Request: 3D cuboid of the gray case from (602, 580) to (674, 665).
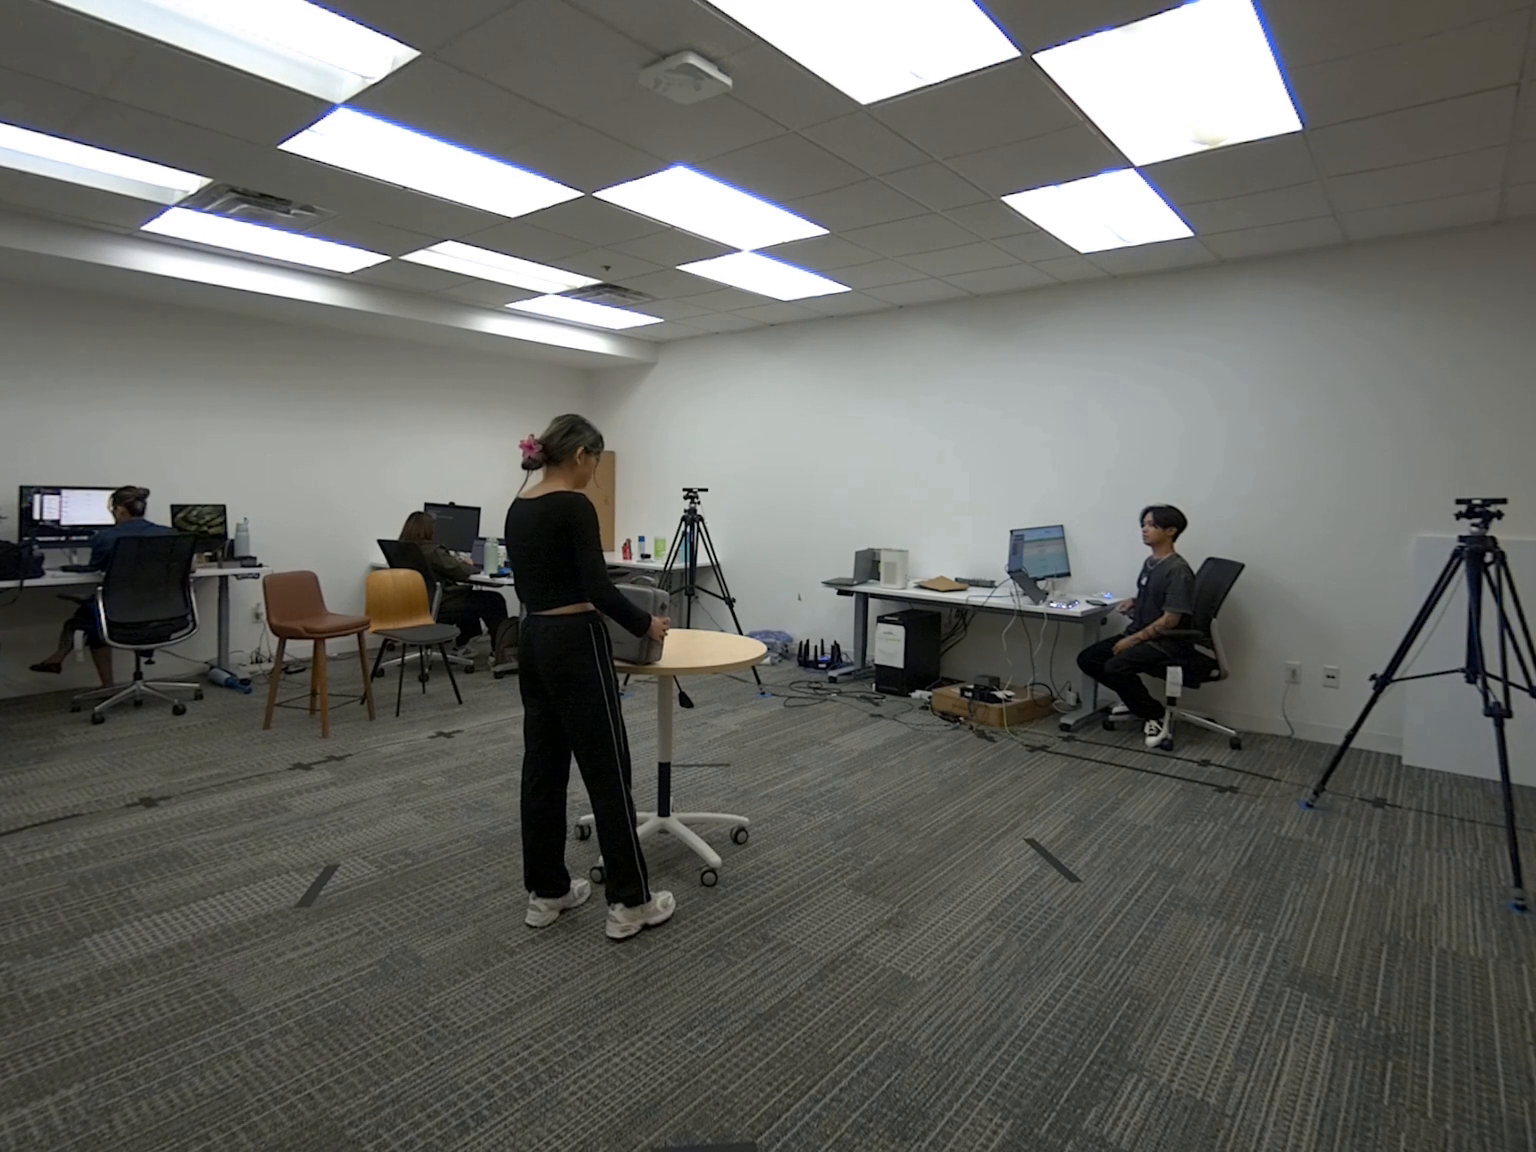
[{"bbox_3d":[-0.472,0.157,2.959,0.100,0.261,0.265,13,-5,-41],"label":"gray case"}]
